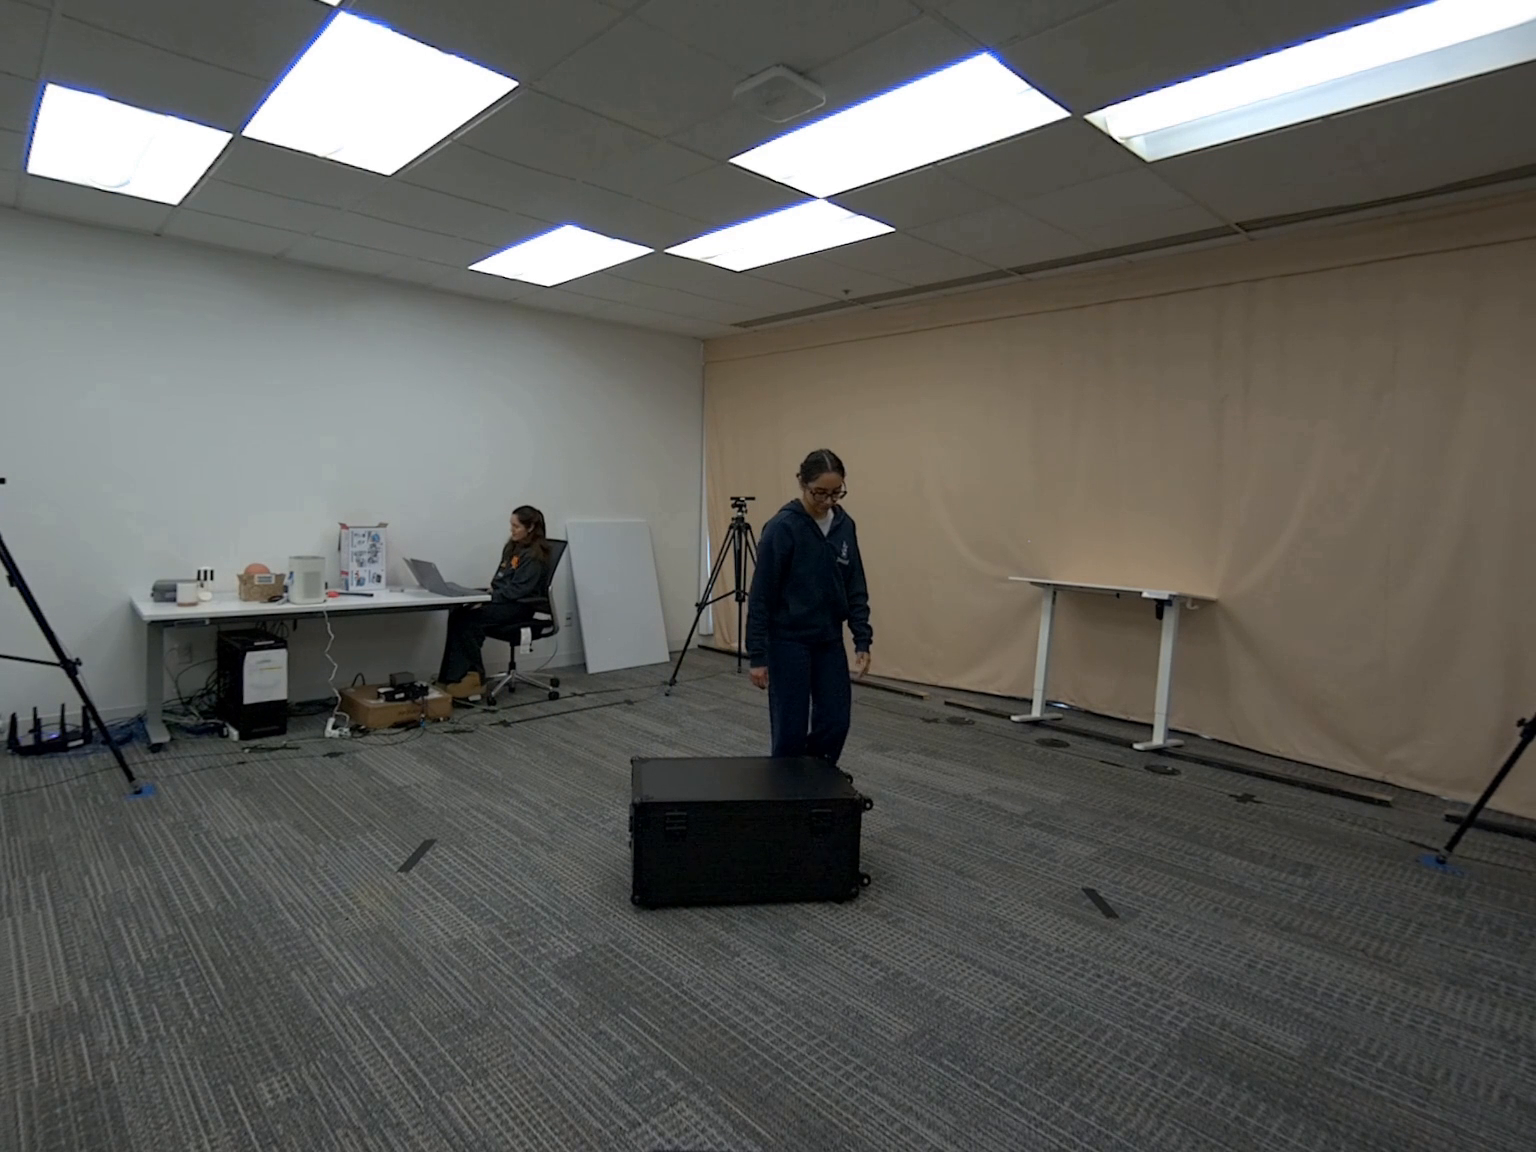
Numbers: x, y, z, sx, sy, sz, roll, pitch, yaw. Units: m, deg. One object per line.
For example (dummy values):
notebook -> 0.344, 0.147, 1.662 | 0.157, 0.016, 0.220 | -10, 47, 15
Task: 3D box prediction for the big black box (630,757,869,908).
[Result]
big black box -> -0.081, 0.918, 3.088 | 0.855, 0.395, 0.526 | 1, 4, -9
